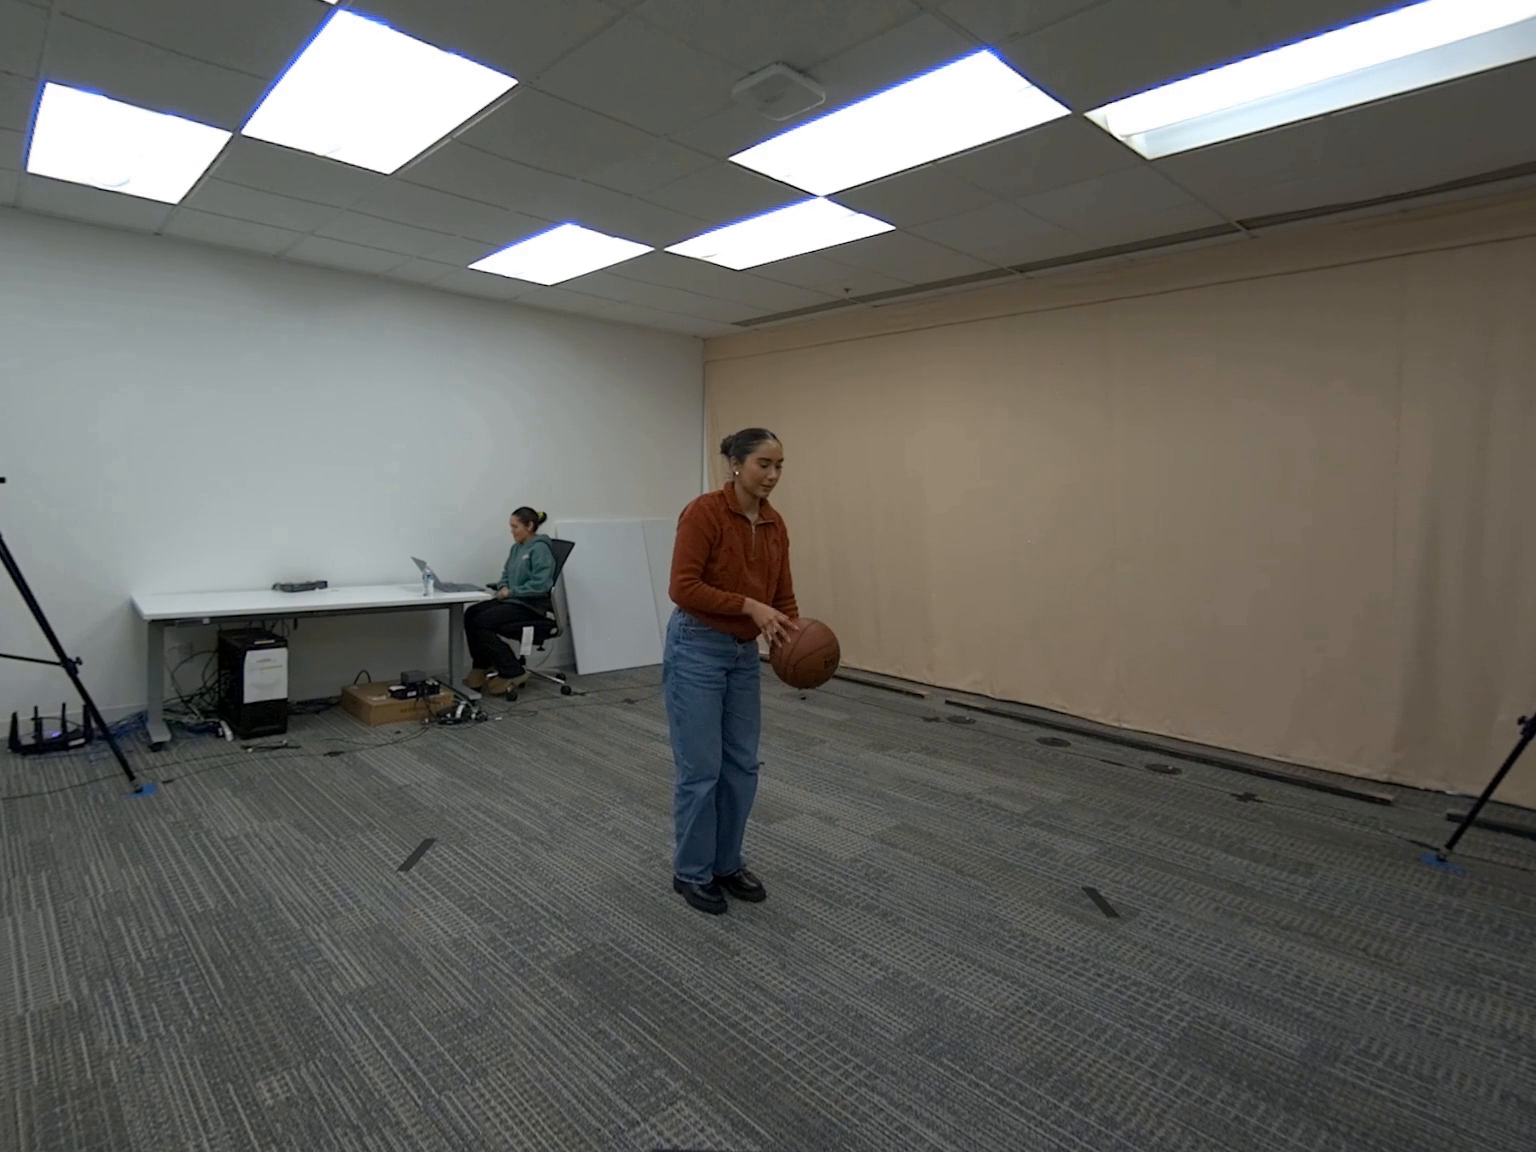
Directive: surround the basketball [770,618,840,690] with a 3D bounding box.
[{"bbox_3d":[0.115,0.259,2.800,0.236,0.235,0.237,1,4,-1],"label":"basketball"}]
